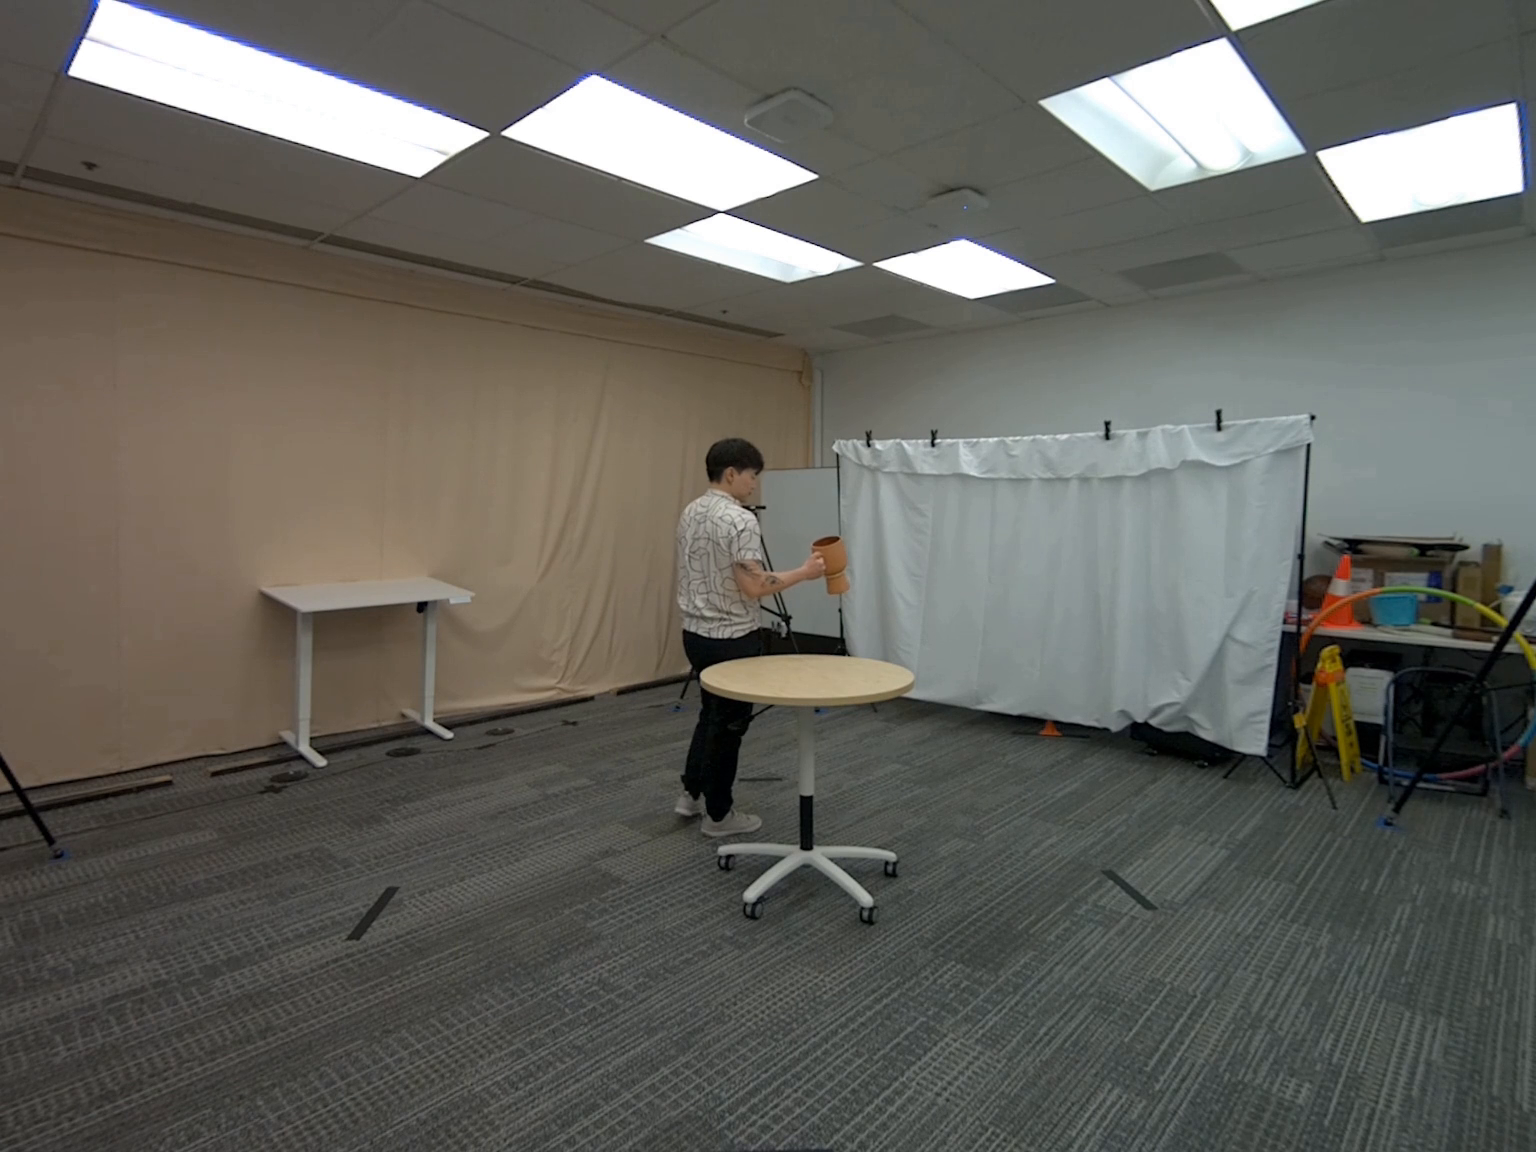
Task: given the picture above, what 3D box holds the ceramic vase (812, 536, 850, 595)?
[{"bbox_3d":[0.264,-0.042,3.506,0.157,0.216,0.138,-19,17,-12],"label":"ceramic vase"}]
